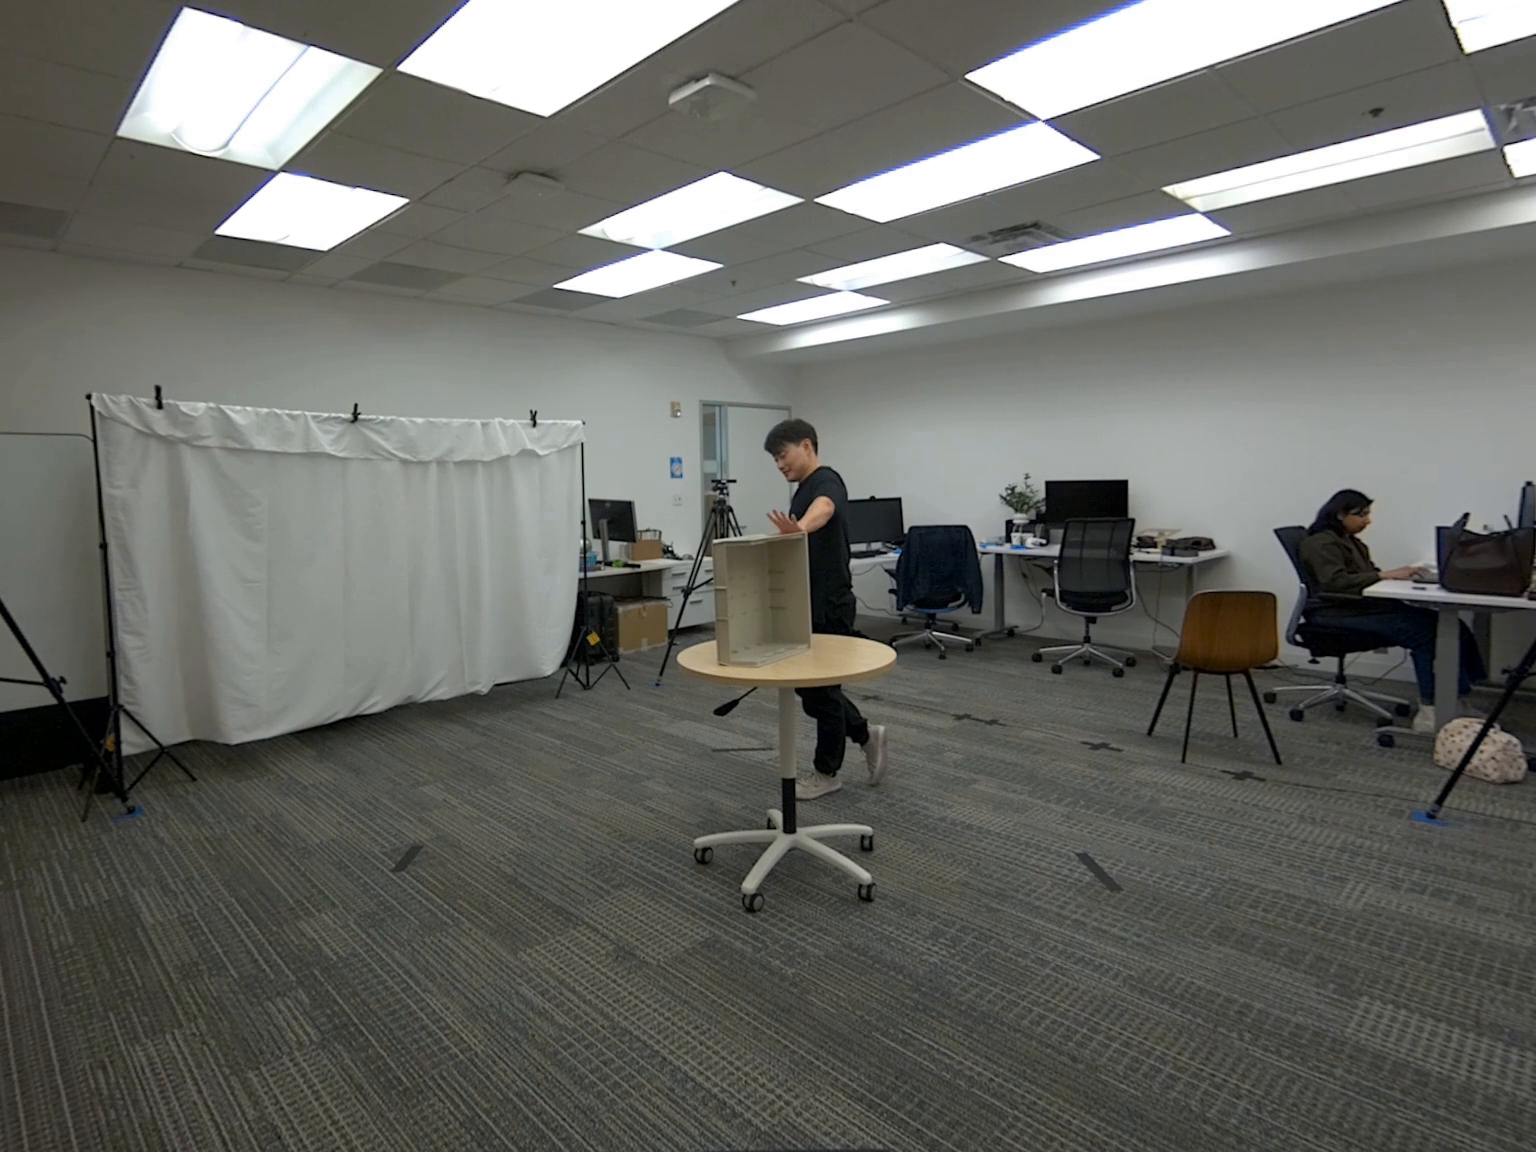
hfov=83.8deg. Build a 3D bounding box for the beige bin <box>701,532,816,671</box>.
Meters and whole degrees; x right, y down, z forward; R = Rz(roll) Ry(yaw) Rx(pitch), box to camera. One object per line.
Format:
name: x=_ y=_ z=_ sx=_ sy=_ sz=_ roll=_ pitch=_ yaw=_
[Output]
beige bin: x=-0.027 y=0.072 z=2.970 sx=0.194 sy=0.421 sz=0.368 roll=-2 pitch=4 yaw=35
